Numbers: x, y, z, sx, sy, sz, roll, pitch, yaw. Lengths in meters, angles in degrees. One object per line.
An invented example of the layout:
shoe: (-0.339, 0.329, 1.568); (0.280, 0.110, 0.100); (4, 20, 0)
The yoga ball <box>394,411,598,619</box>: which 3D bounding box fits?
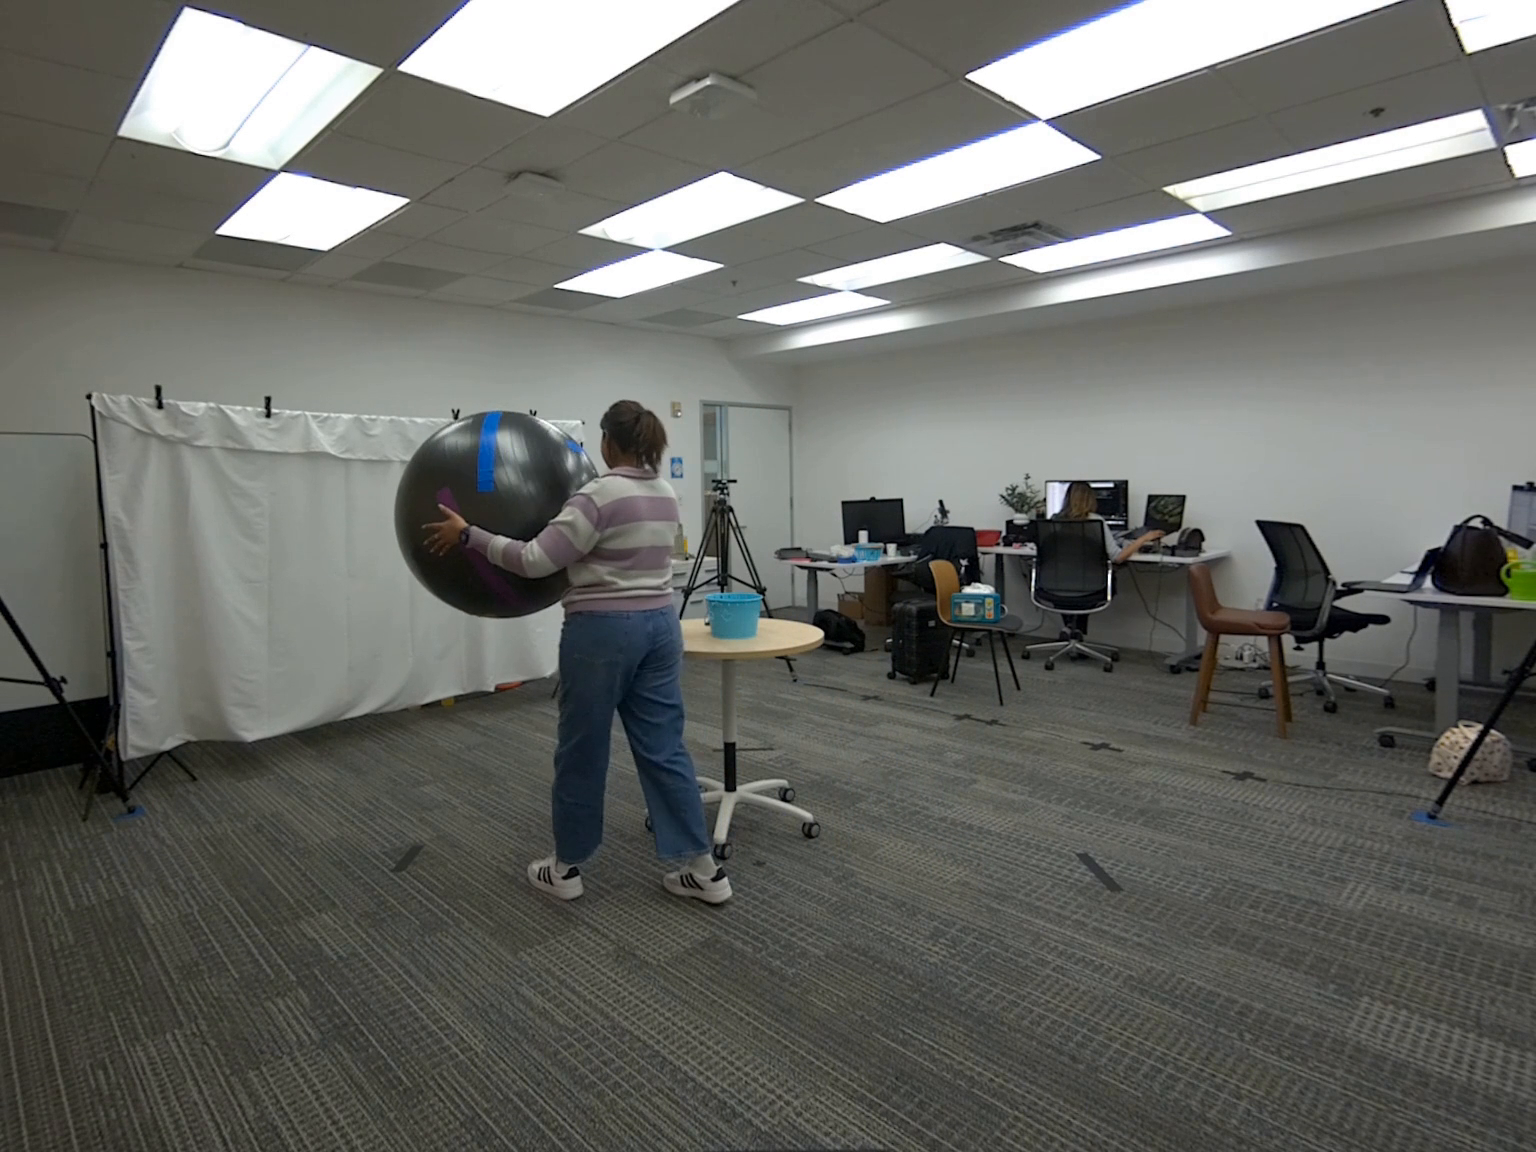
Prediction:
yoga ball: (-0.992, -0.218, 3.160); (0.757, 0.755, 0.762); (-1, 5, -2)
